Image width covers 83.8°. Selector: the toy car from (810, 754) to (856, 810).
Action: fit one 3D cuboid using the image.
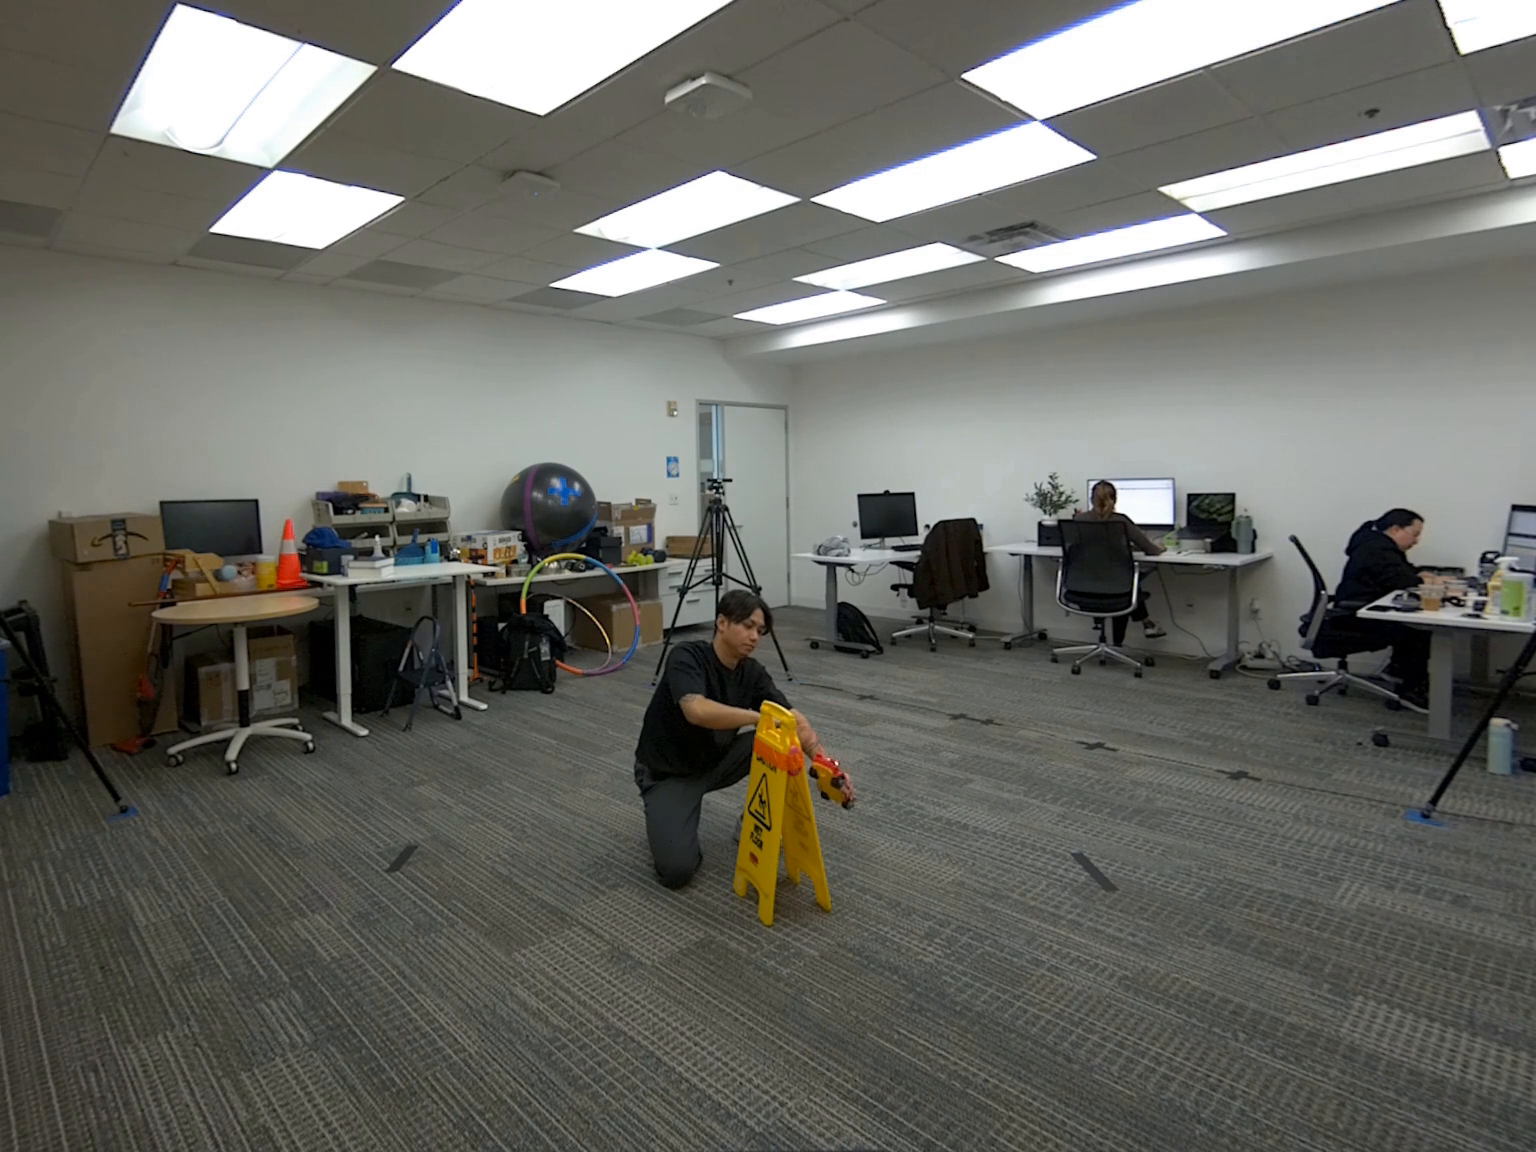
[{"bbox_3d":[0.213,0.690,2.898,0.135,0.247,0.083,19,42,37],"label":"toy car"}]
